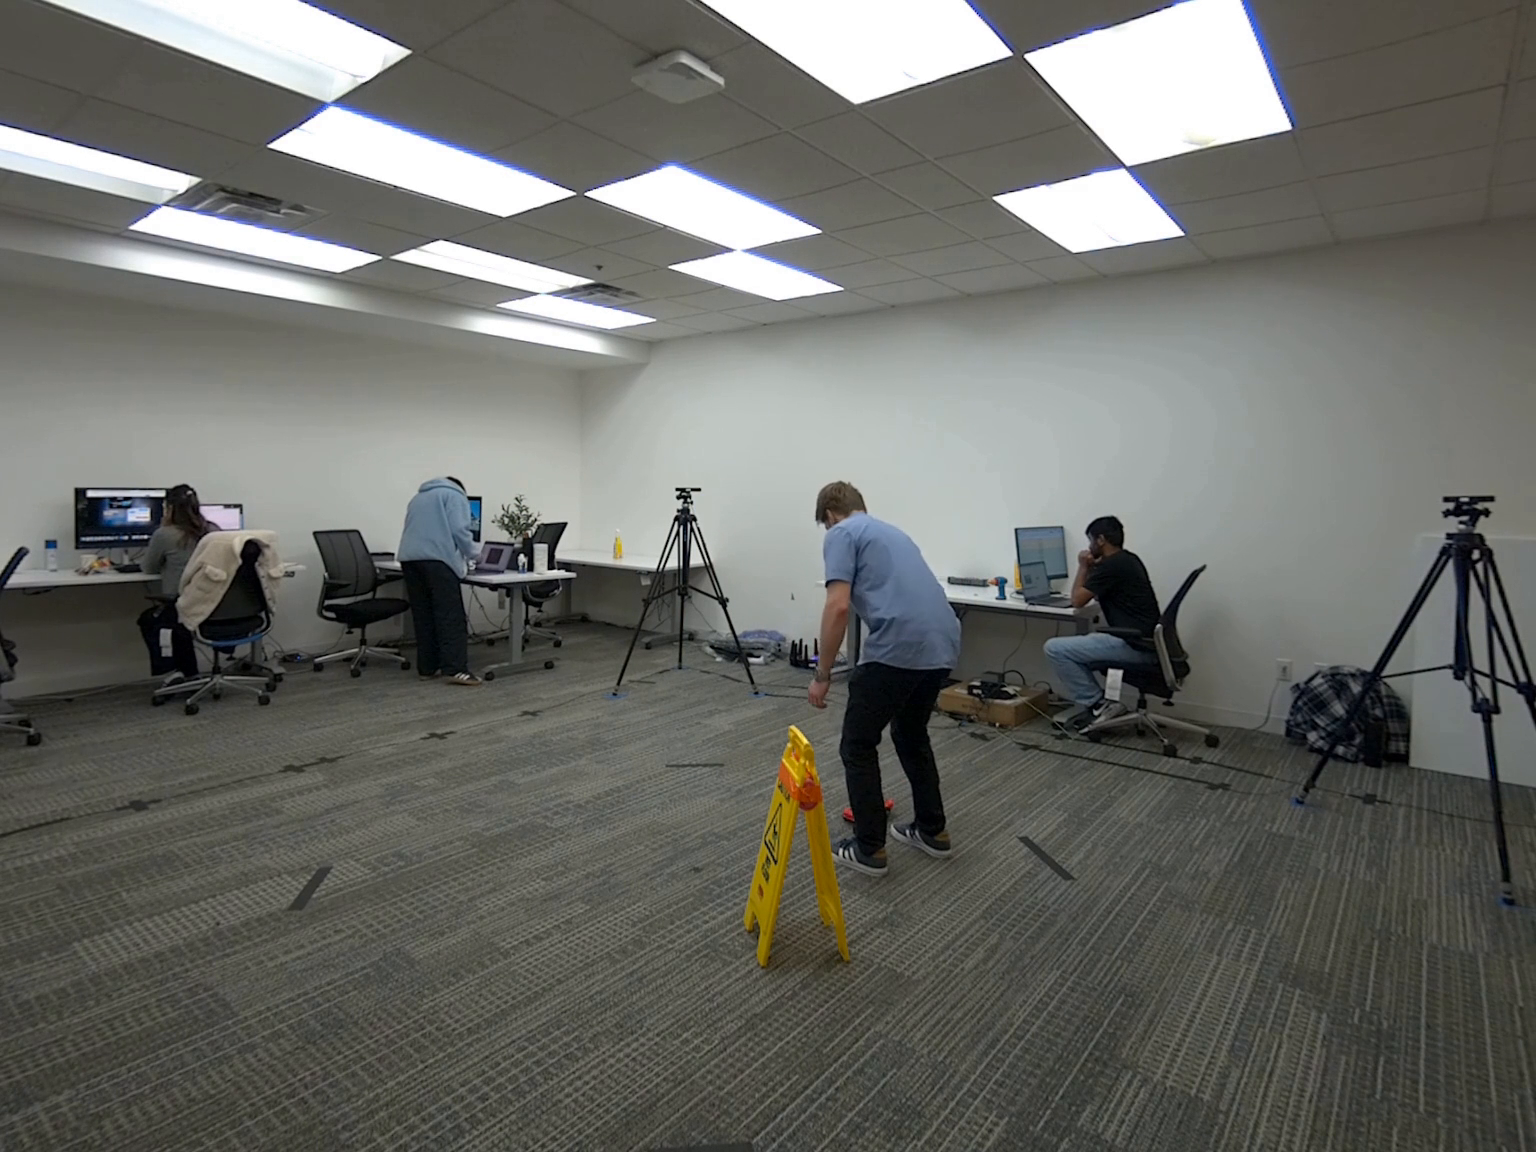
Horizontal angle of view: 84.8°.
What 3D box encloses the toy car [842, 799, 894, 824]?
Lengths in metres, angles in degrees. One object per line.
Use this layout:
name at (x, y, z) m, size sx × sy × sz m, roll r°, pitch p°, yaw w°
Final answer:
toy car at (0.432, 0.995, 3.631) m, size 0.249 × 0.082 × 0.135 m, roll -19°, pitch 18°, yaw -42°
